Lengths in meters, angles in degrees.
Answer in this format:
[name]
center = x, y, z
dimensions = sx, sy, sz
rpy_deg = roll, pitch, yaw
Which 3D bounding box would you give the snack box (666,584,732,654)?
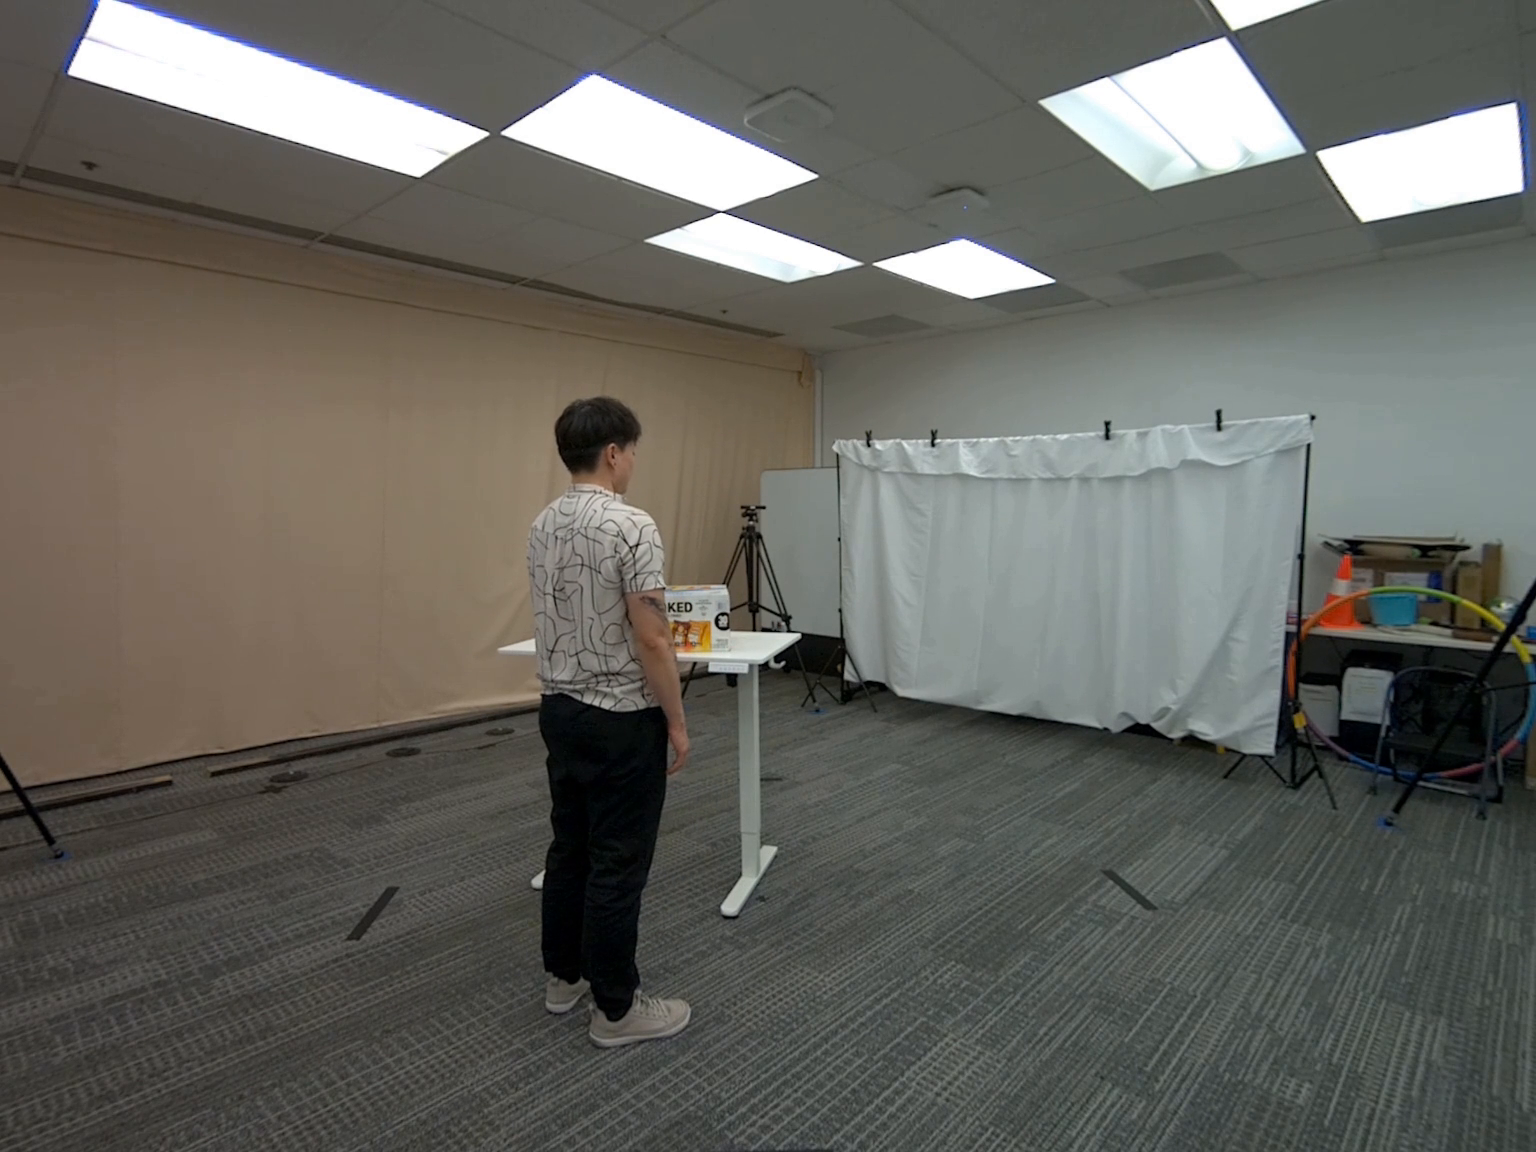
[snack box]
center = -0.345, 0.151, 3.077
dimensions = 0.404, 0.205, 0.342
rpy_deg = -2, 4, -3
